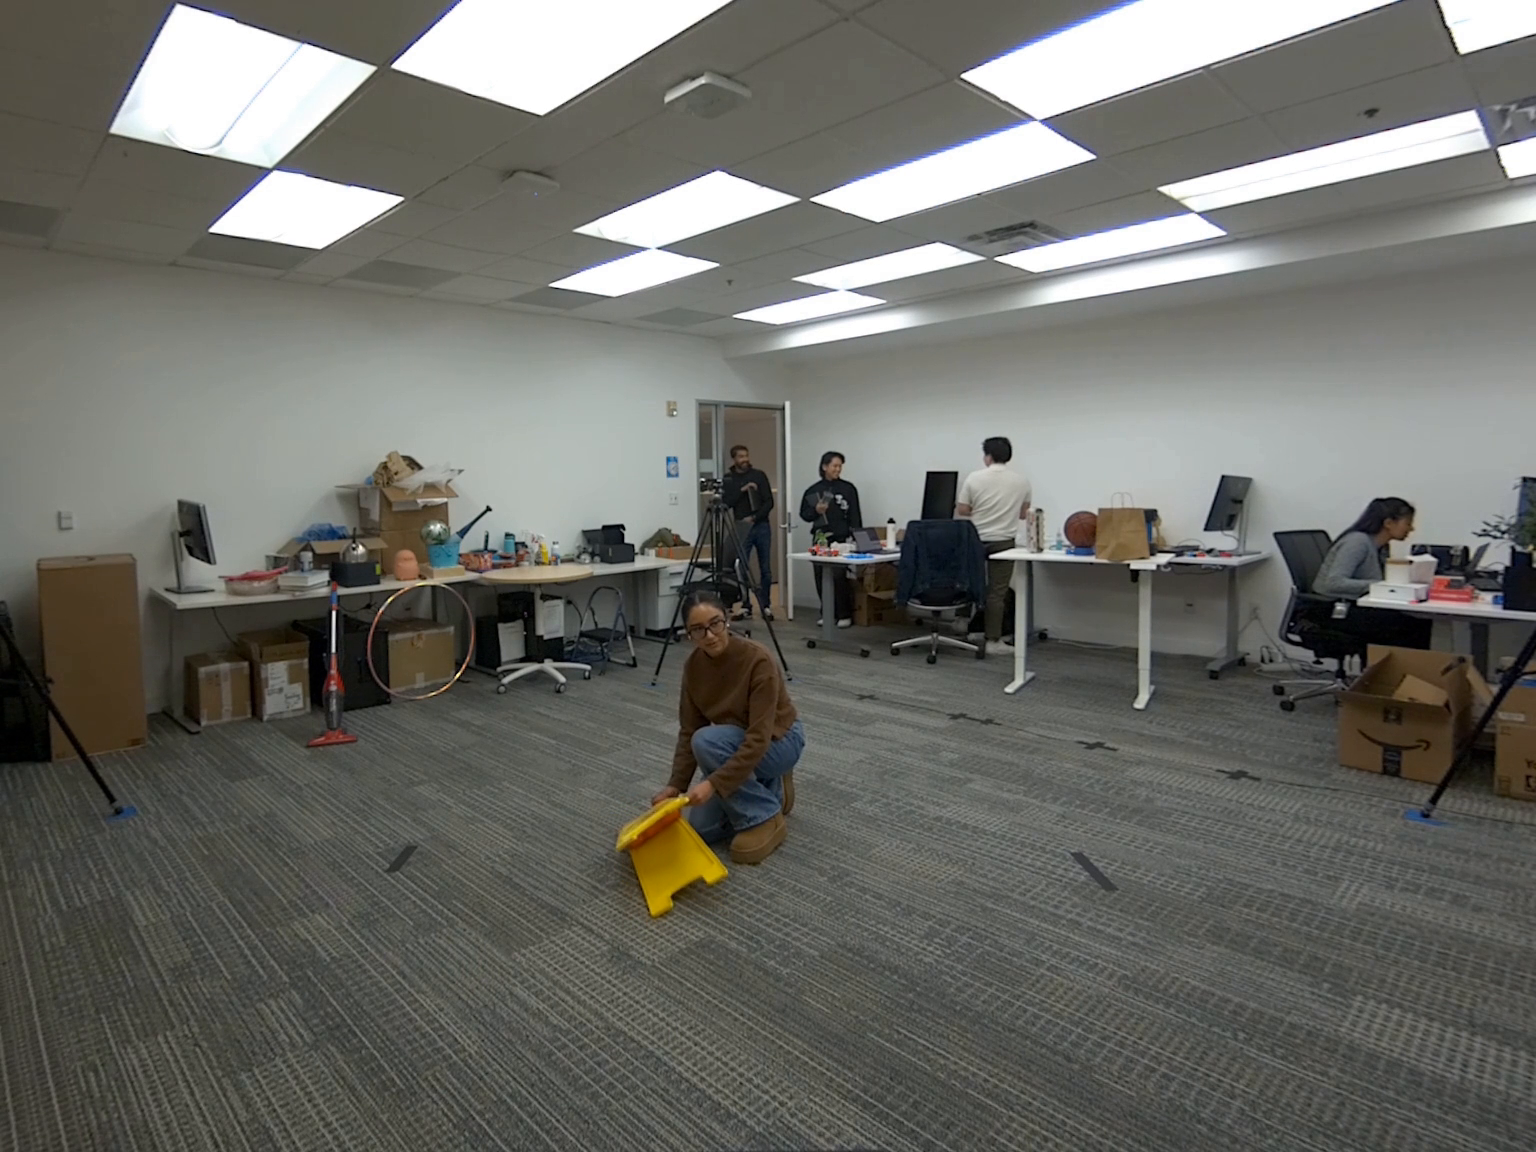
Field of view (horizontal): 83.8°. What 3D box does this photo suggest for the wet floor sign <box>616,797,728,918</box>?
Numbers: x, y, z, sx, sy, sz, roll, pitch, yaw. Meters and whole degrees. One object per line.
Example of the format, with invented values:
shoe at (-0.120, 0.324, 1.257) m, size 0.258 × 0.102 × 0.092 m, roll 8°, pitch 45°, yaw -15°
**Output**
wet floor sign at (-0.393, 0.938, 3.065) m, size 0.280 × 0.289 × 0.651 m, roll -28°, pitch 3°, yaw -15°
